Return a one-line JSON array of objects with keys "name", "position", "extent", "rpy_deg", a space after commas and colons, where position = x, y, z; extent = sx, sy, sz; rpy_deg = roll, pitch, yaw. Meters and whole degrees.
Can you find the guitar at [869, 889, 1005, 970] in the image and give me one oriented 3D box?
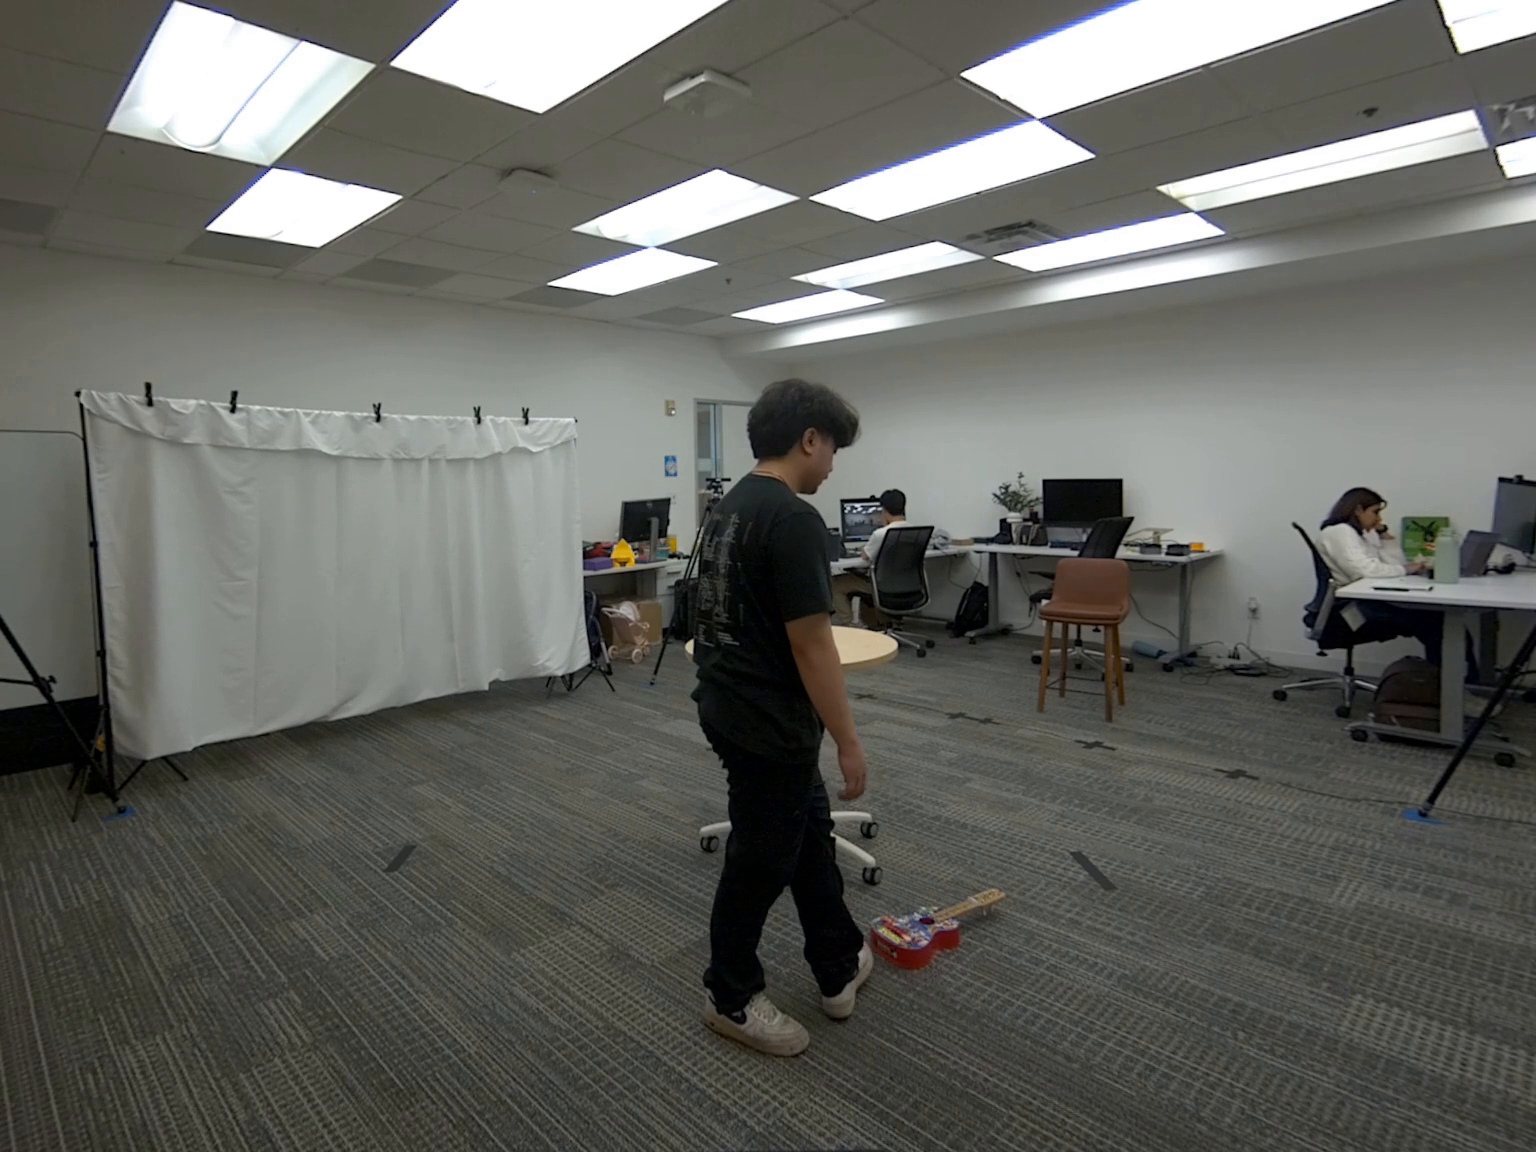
[{"name": "guitar", "position": [0.558, 1.061, 2.576], "extent": [0.488, 0.070, 0.197], "rpy_deg": [-5, 7, -23]}]
